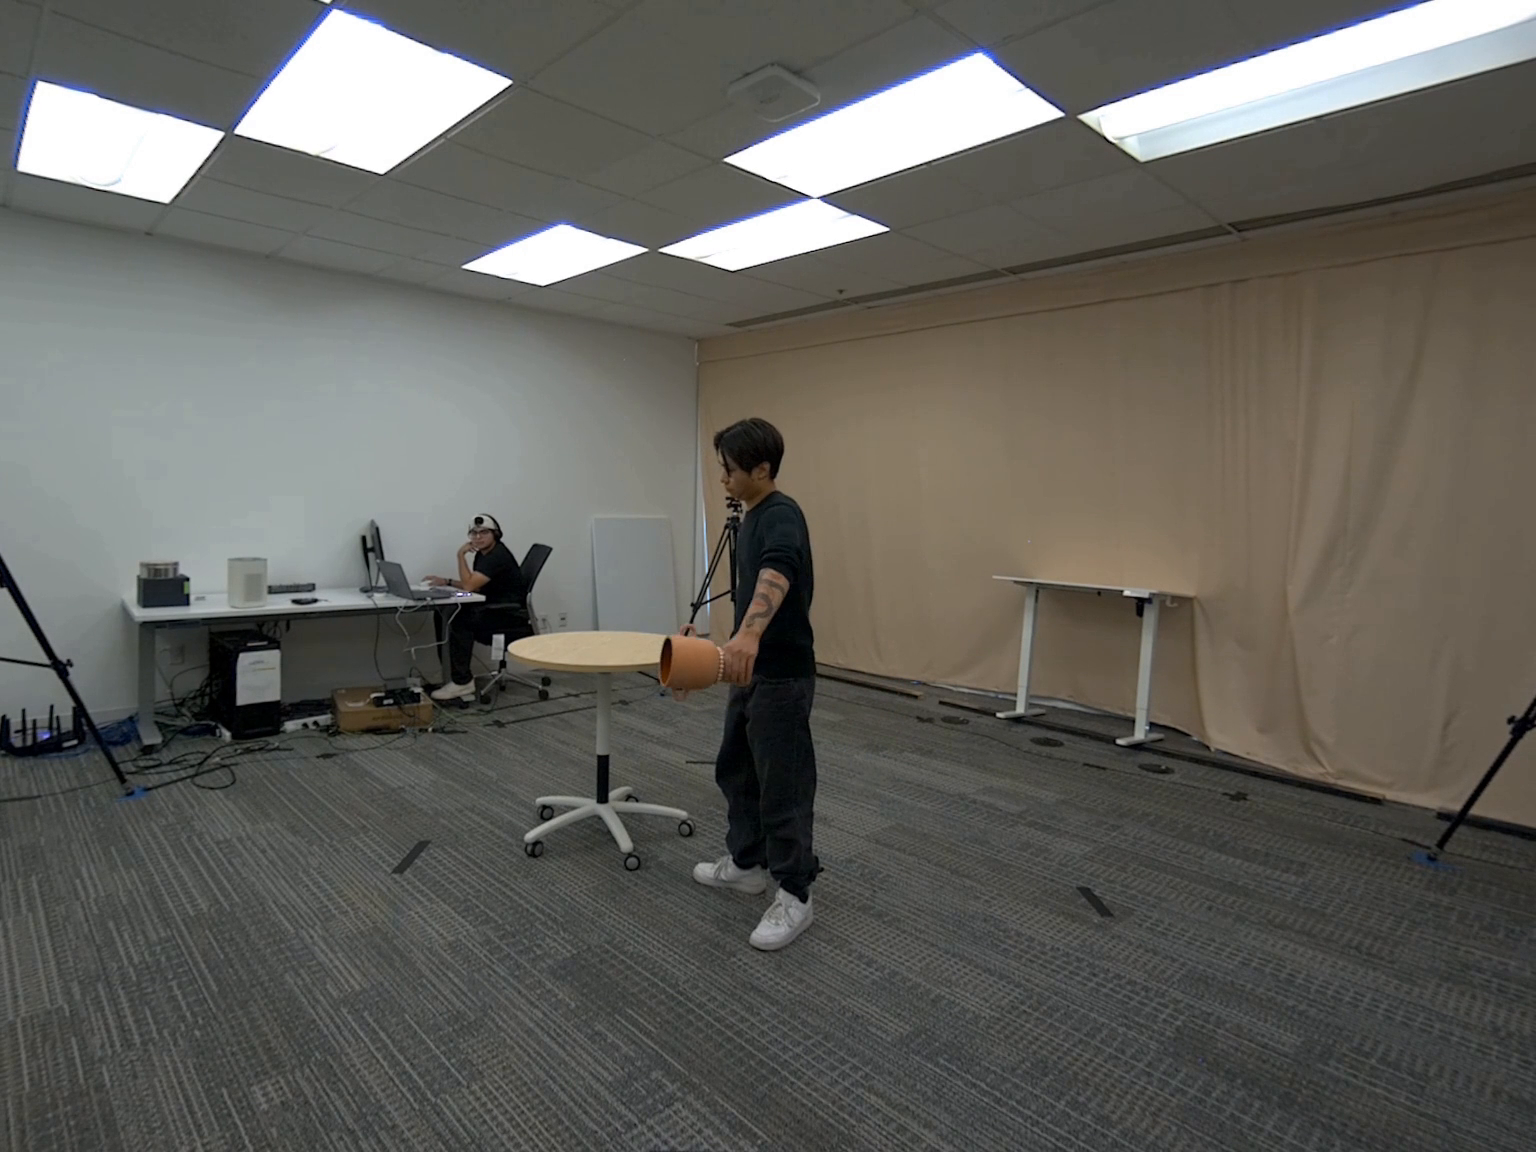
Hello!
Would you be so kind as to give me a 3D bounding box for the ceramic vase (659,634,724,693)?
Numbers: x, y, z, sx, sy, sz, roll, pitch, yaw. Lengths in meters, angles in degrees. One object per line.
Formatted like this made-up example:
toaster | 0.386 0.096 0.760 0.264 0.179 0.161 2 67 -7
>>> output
ceramic vase | -0.161 0.226 2.194 0.216 0.157 0.138 7 36 -19
